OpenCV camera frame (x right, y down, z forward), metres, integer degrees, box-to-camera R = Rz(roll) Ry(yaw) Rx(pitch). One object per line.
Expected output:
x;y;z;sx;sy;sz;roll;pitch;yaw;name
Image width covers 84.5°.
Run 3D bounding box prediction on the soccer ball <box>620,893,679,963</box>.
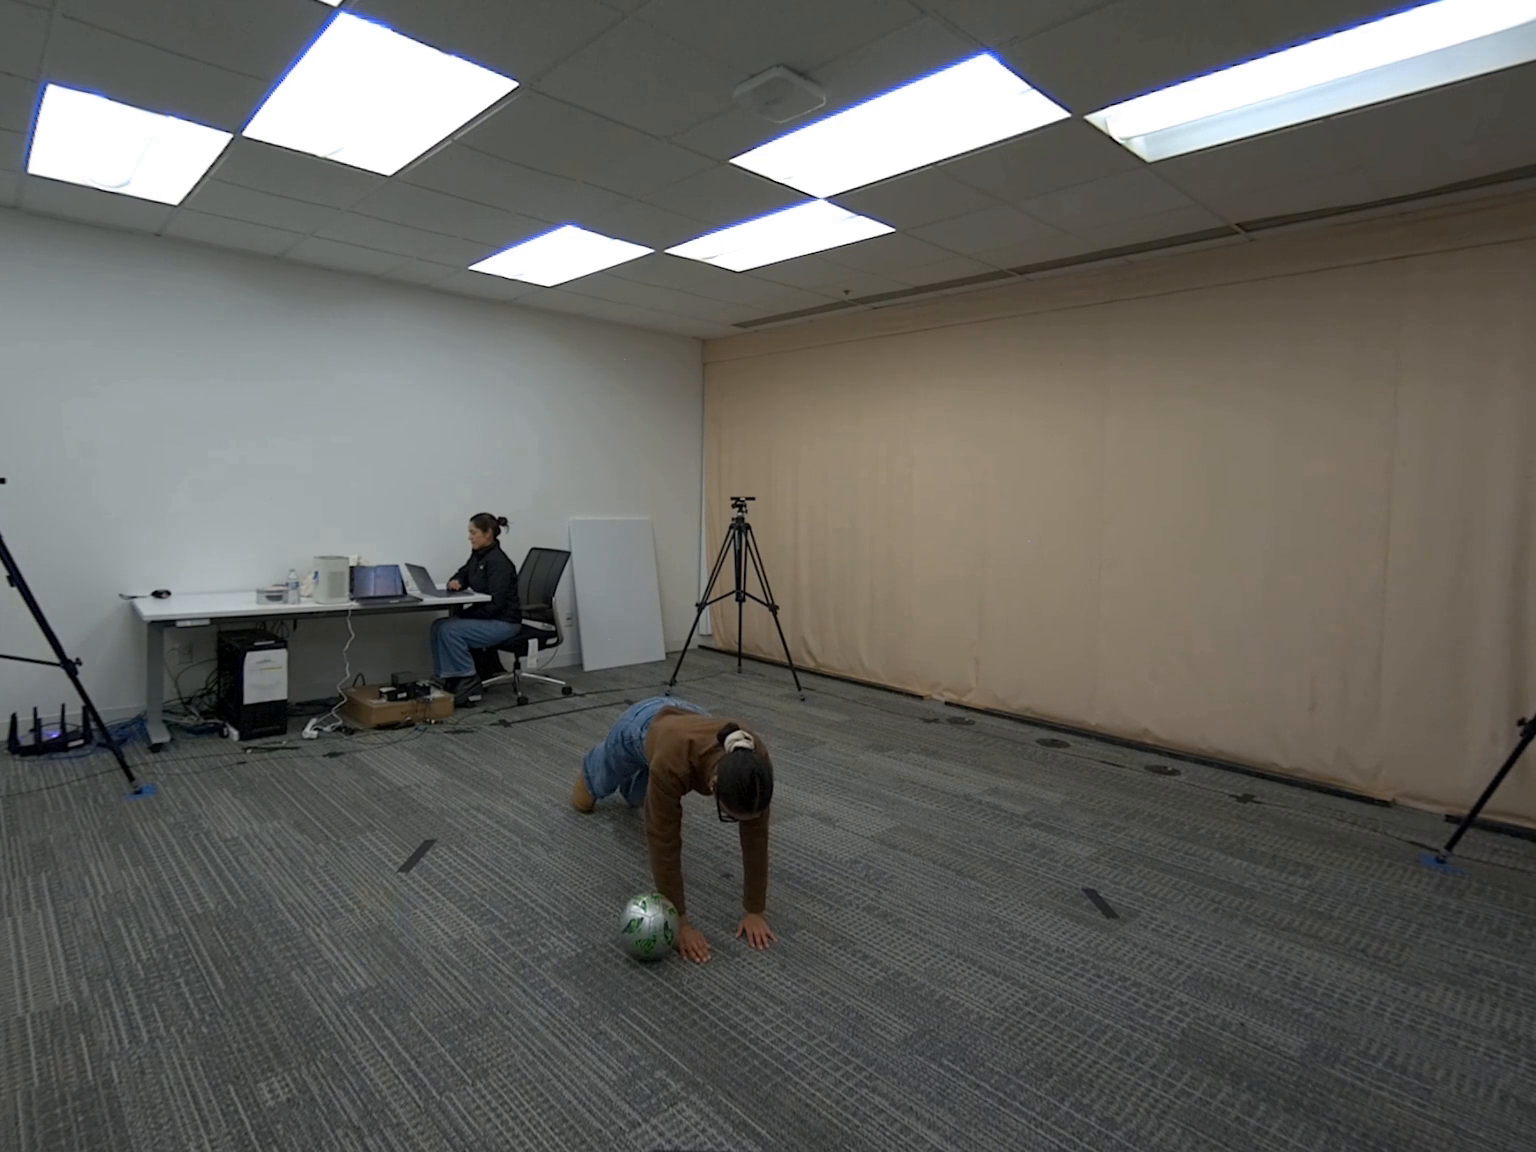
-0.374;1.060;2.544;0.187;0.187;0.188;1;4;-1;soccer ball
